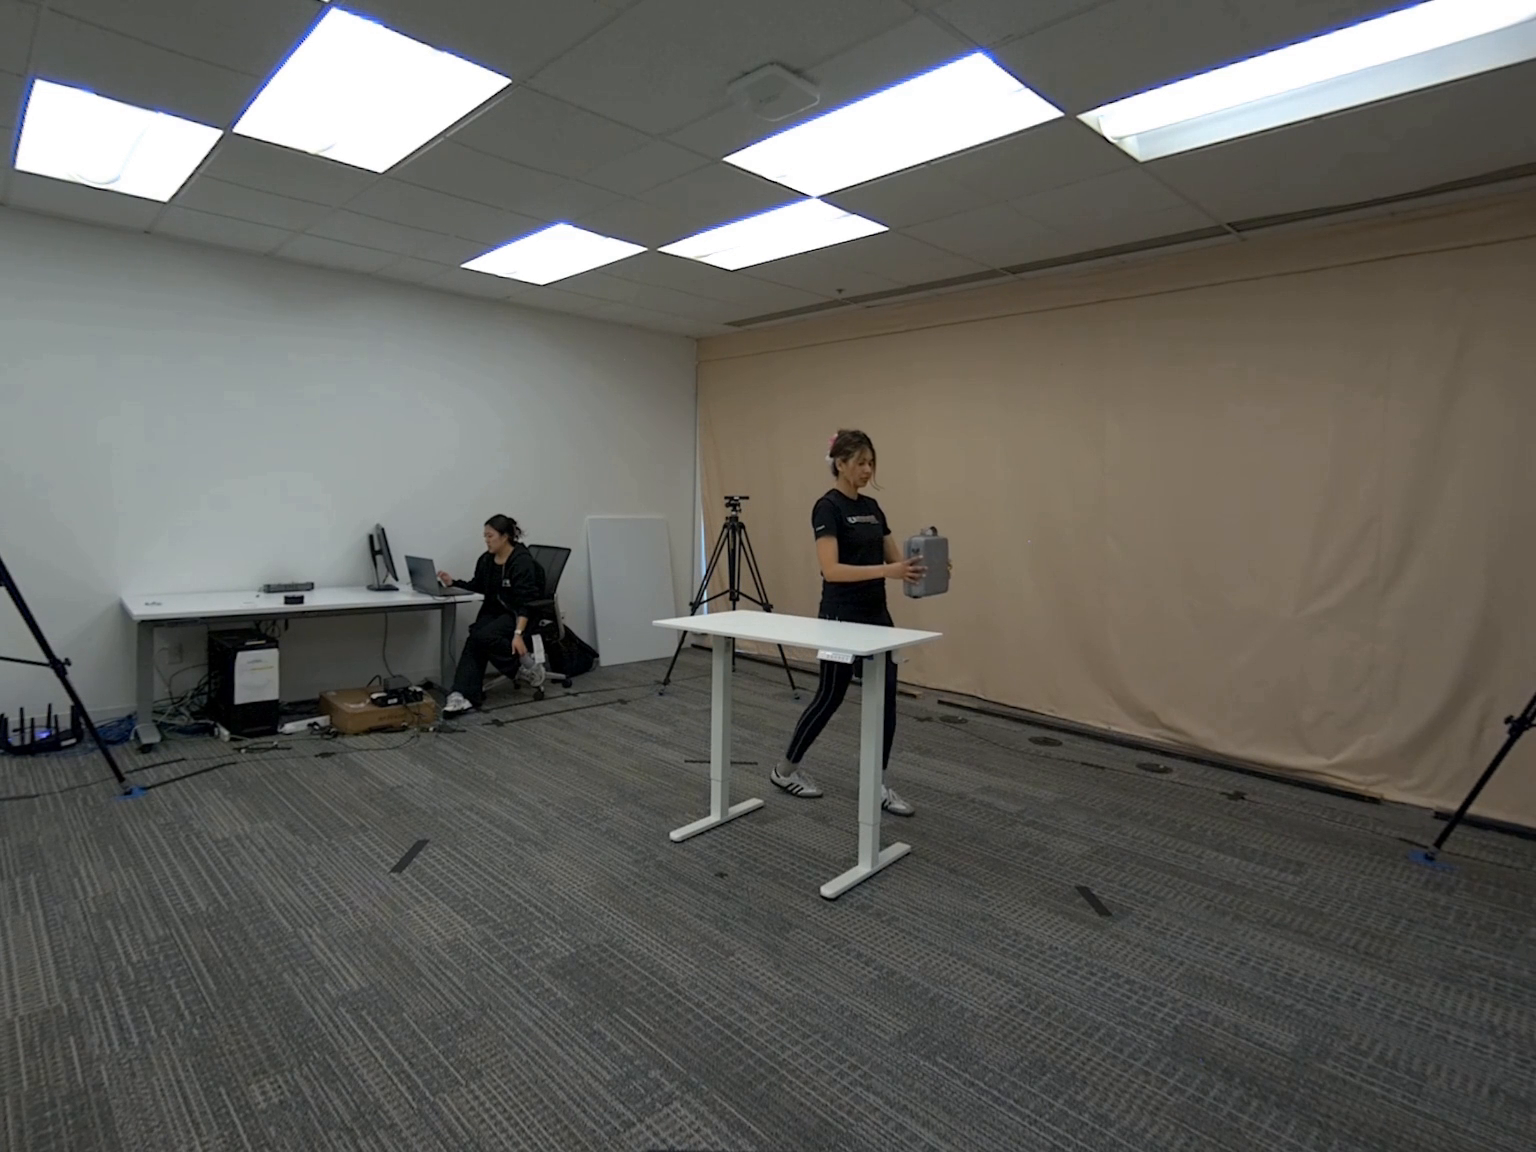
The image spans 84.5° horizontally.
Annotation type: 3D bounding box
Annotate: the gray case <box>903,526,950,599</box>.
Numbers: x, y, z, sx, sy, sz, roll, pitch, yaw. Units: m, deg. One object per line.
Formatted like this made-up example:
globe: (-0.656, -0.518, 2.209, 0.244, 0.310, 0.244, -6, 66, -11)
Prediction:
gray case: (0.659, -0.049, 3.584, 0.107, 0.260, 0.251, 3, 6, 38)
